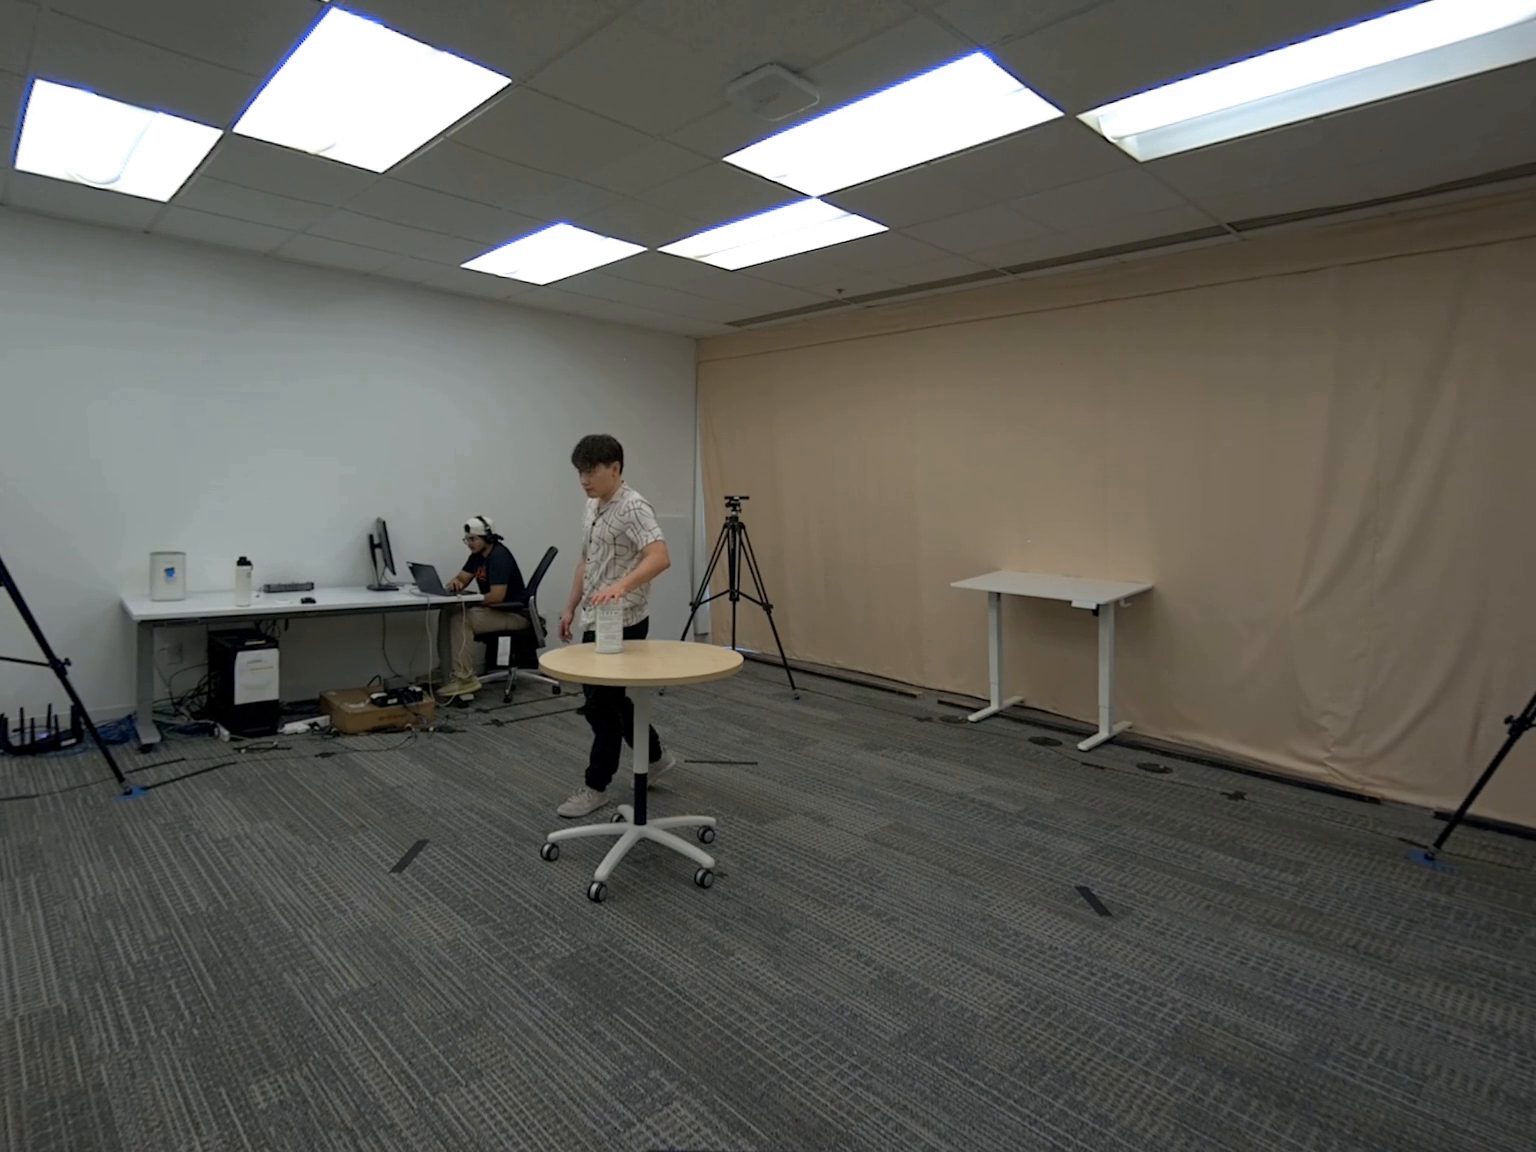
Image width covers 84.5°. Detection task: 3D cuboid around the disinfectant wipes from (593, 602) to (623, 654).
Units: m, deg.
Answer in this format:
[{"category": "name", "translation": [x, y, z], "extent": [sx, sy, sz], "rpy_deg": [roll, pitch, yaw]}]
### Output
[{"category": "disinfectant wipes", "translation": [-0.639, 0.195, 3.286], "extent": [0.118, 0.217, 0.118], "rpy_deg": [-1, 2, -1]}]
